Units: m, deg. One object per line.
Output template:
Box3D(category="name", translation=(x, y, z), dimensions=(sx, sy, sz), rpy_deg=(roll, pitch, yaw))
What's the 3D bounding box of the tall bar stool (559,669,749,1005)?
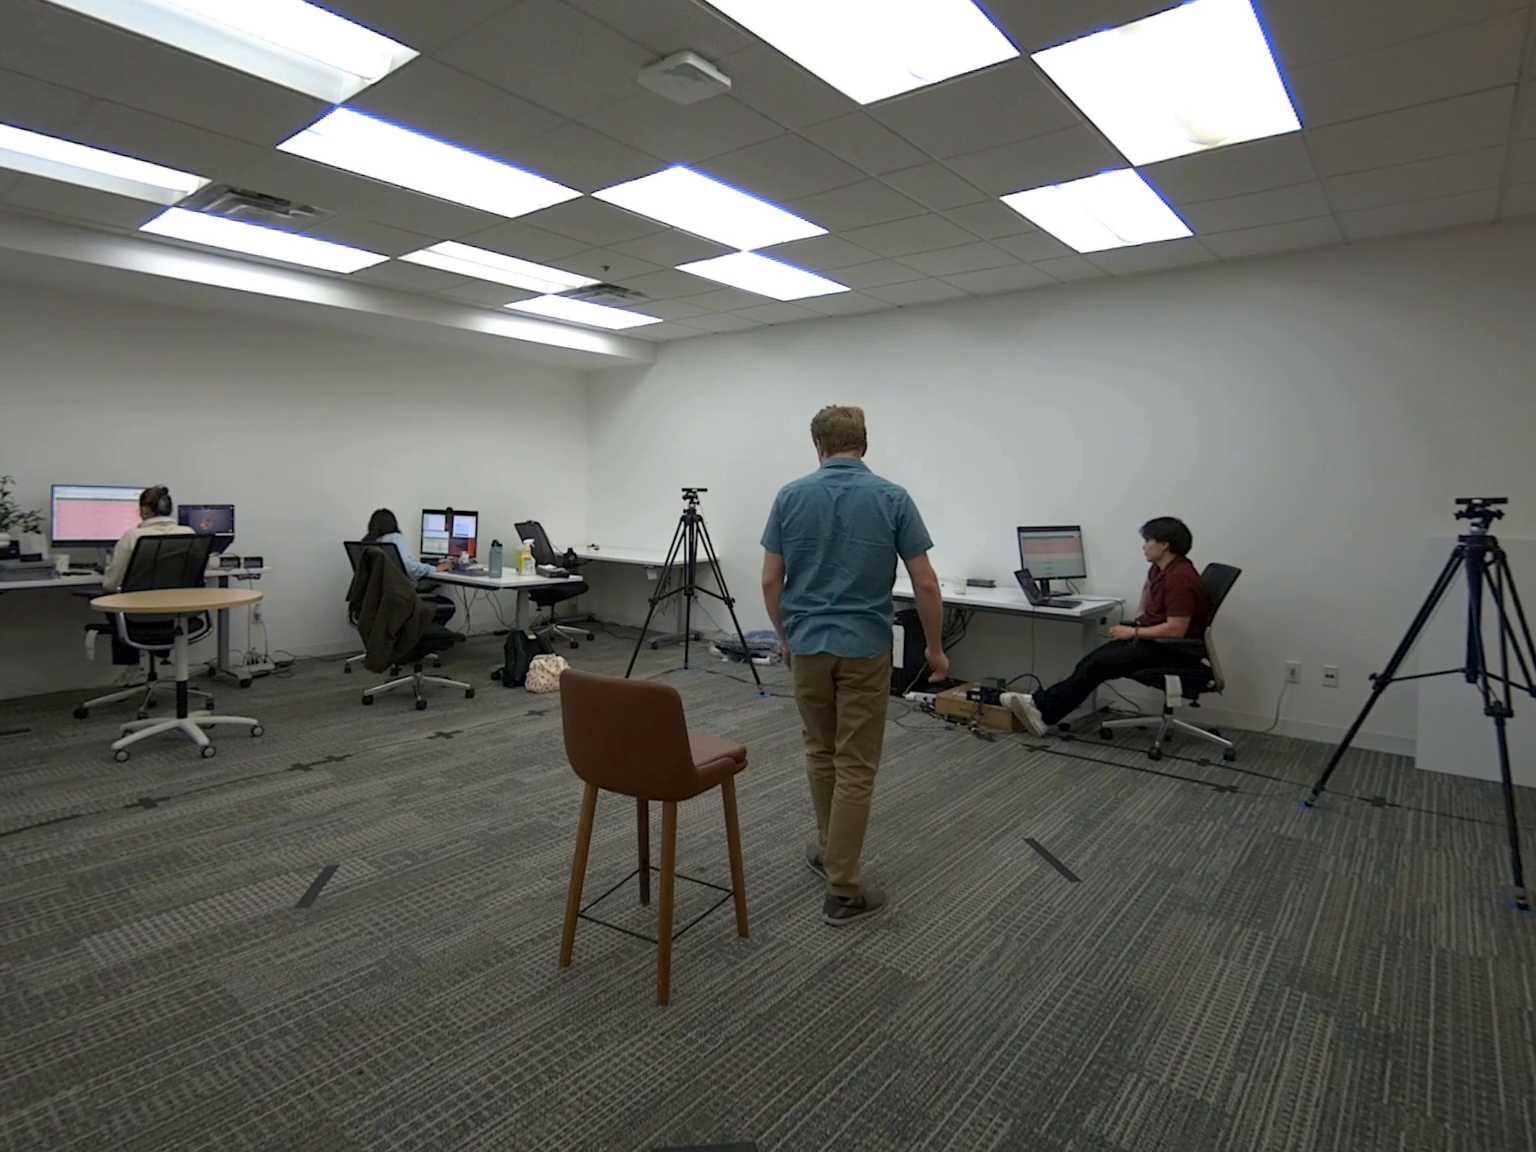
Box3D(category="tall bar stool", translation=(-0.342, 0.687, 2.543), dimensions=(0.470, 0.886, 0.456), rpy_deg=(2, 5, 30))
